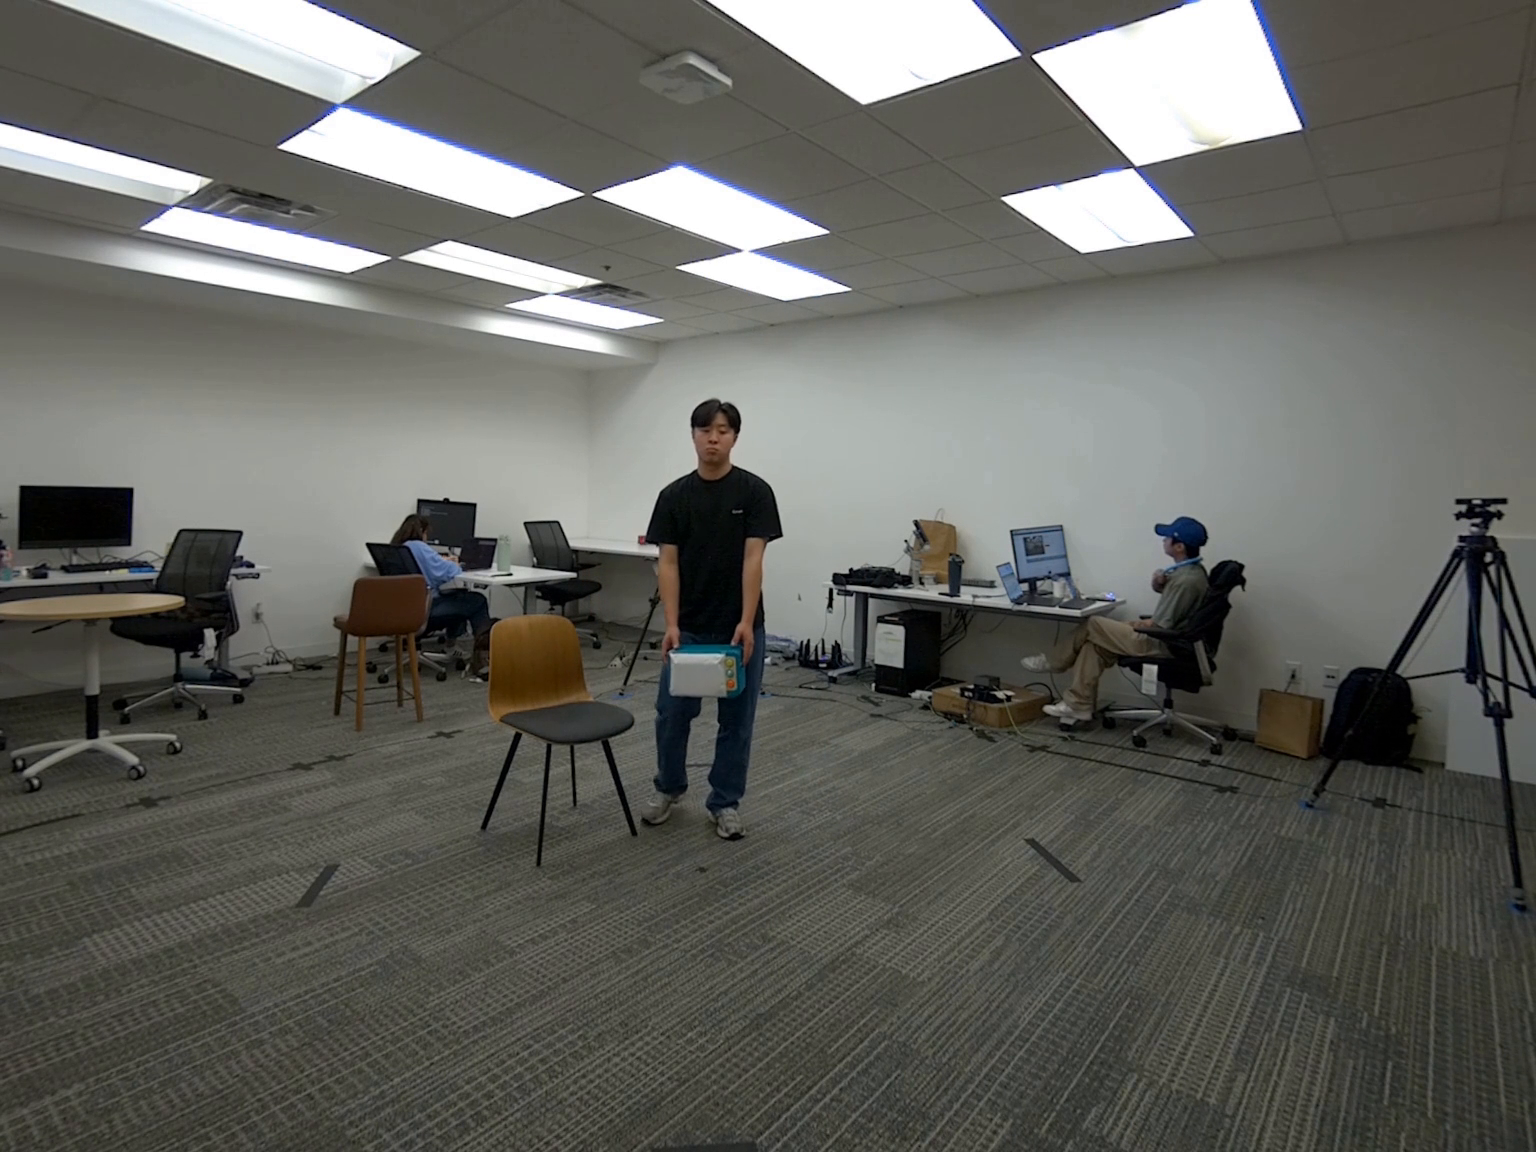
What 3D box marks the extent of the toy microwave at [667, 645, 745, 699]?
[{"bbox_3d":[-0.249,0.358,3.235,0.289,0.183,0.151,-1,4,11],"label":"toy microwave"}]
